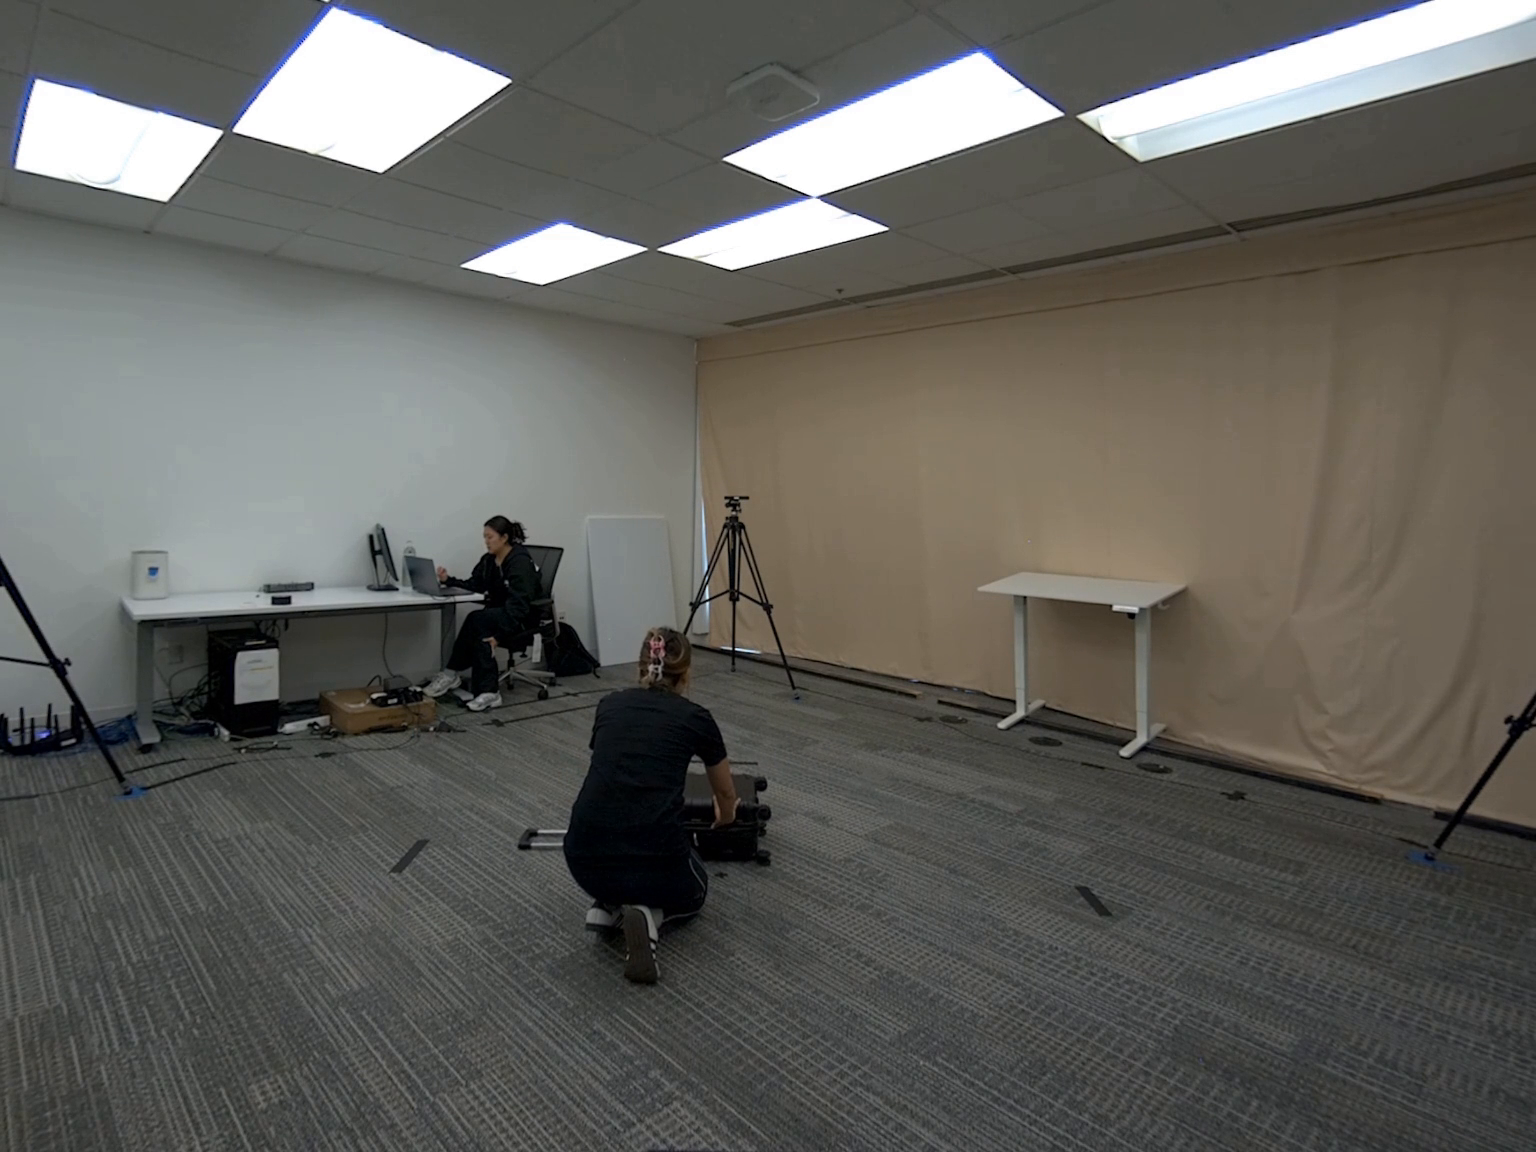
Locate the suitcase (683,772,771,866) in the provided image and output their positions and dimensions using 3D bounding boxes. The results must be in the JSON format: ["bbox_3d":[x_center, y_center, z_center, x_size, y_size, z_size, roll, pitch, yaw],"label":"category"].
[{"bbox_3d":[-0.485,0.950,3.365,0.978,0.256,0.386,3,6,-1],"label":"suitcase"}]
